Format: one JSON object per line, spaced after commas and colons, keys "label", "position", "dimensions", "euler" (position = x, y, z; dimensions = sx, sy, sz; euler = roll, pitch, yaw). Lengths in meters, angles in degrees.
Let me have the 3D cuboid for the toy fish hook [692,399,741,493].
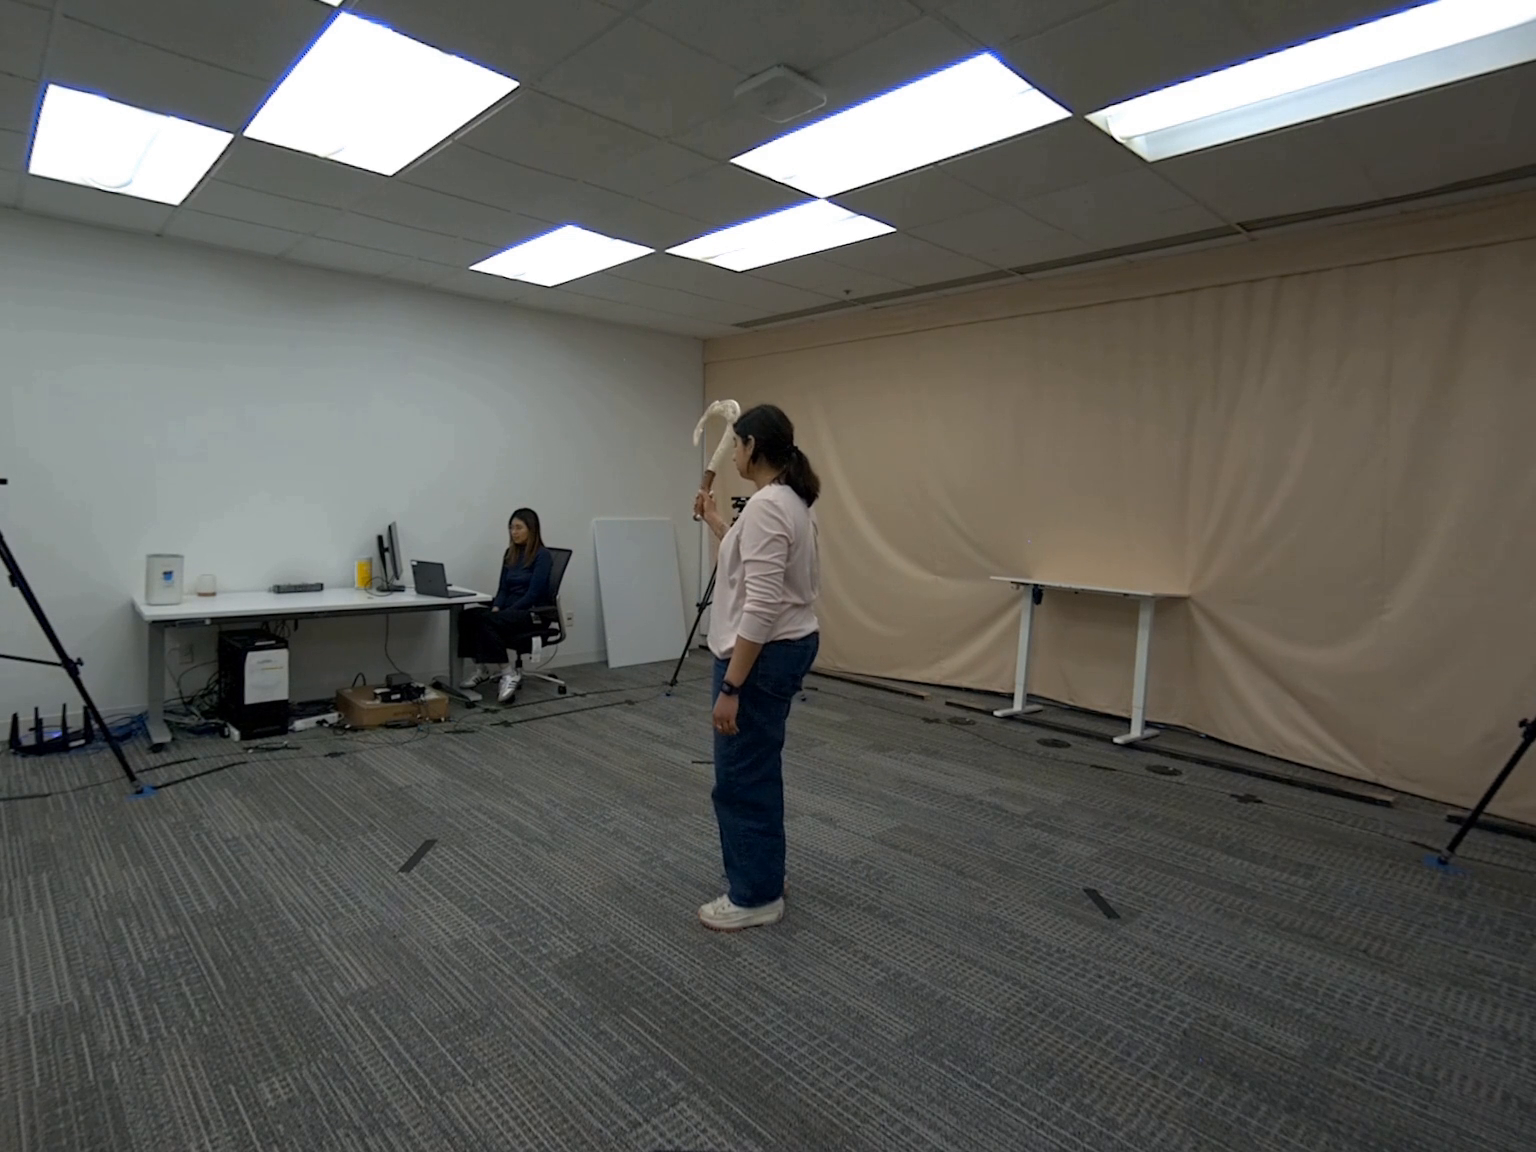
{"label": "toy fish hook", "position": [-0.249, -0.442, 3.244], "dimensions": [0.230, 0.510, 0.047], "euler": [2, -18, 46]}
